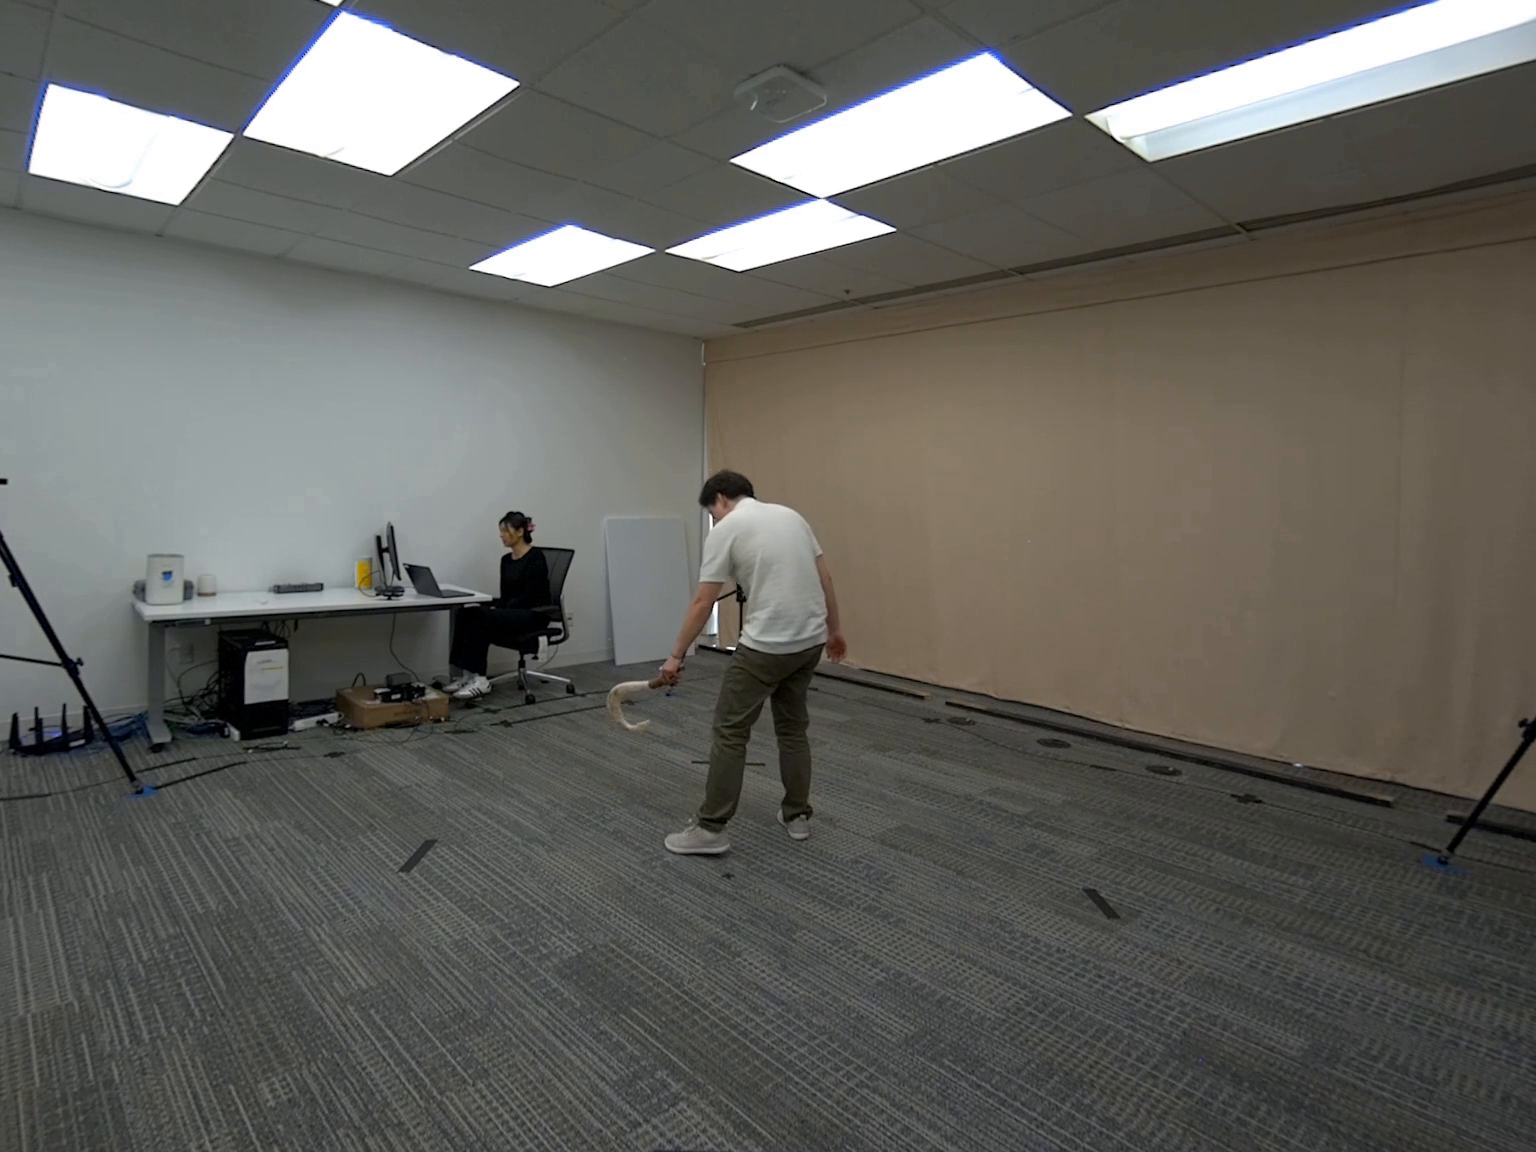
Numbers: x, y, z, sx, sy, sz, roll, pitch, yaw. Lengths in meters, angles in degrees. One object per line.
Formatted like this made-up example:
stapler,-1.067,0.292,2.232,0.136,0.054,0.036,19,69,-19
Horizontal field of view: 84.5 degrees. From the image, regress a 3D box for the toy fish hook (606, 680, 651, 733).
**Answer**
toy fish hook,-0.513,0.524,3.552,0.511,0.225,0.048,-30,-5,36
